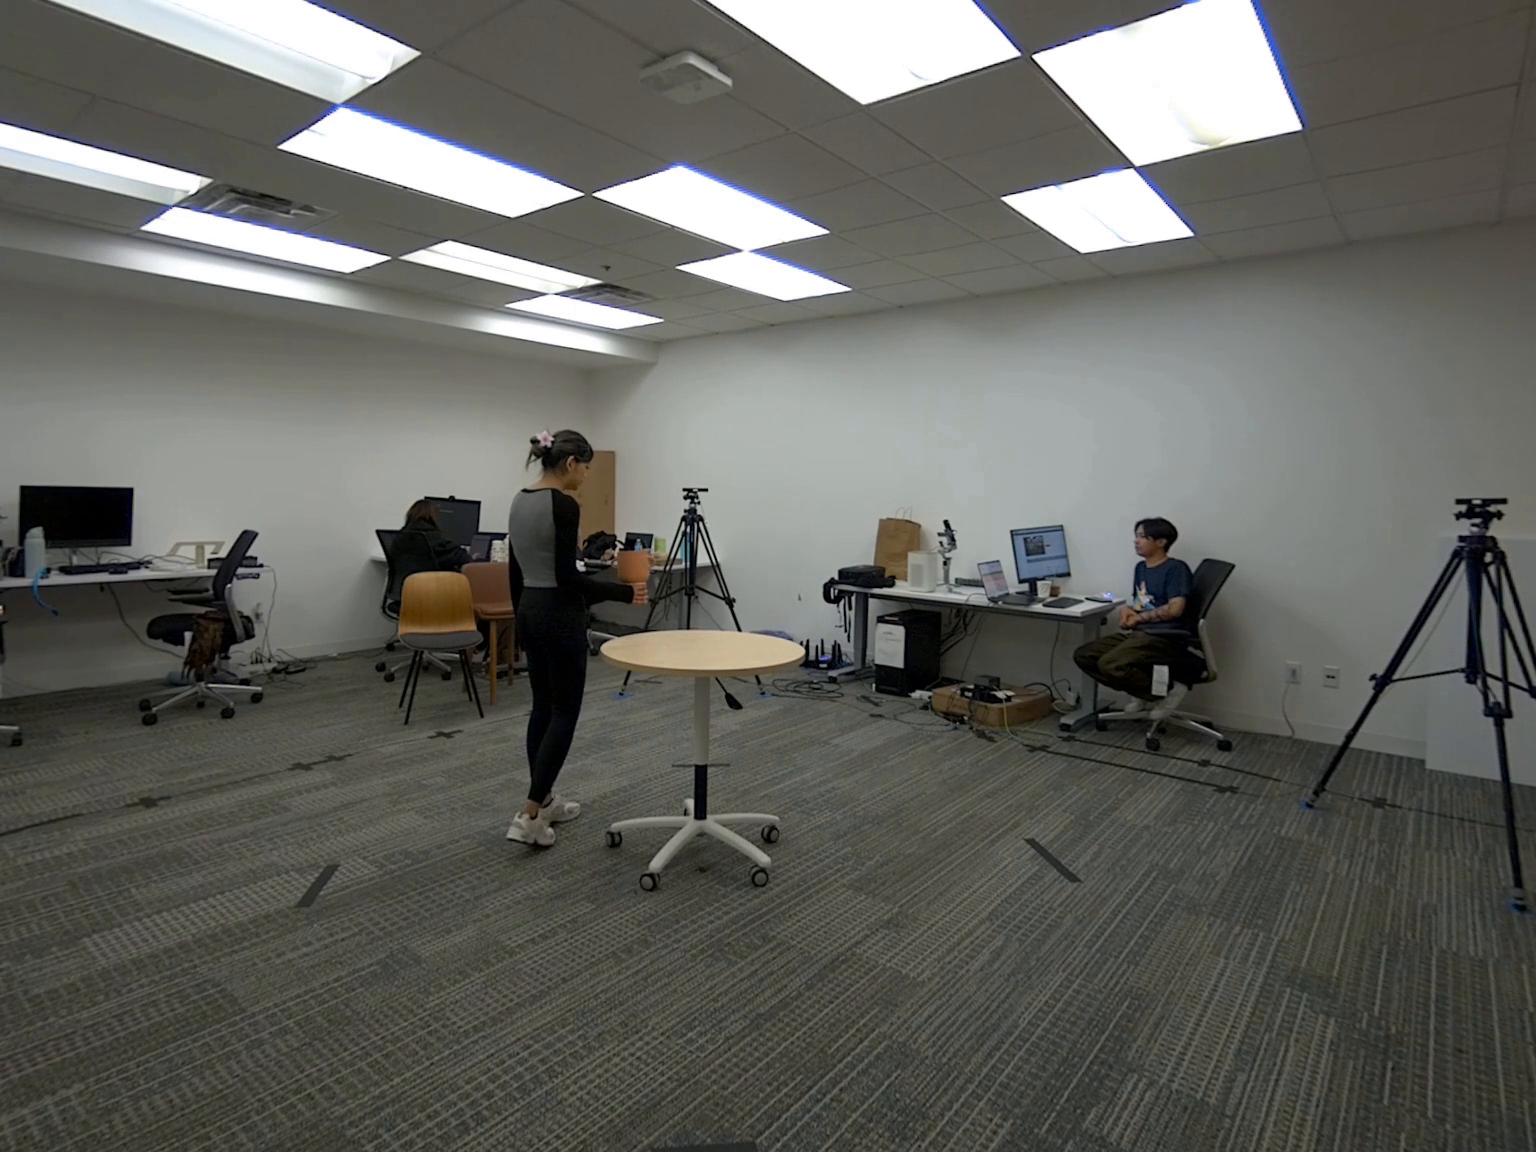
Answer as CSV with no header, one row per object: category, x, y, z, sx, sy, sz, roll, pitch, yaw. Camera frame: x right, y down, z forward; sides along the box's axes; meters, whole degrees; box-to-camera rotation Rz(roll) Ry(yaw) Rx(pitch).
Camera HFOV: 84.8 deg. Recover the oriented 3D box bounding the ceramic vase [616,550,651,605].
ceramic vase,-0.575,0.005,3.540,0.130,0.220,0.163,-1,-2,-39
